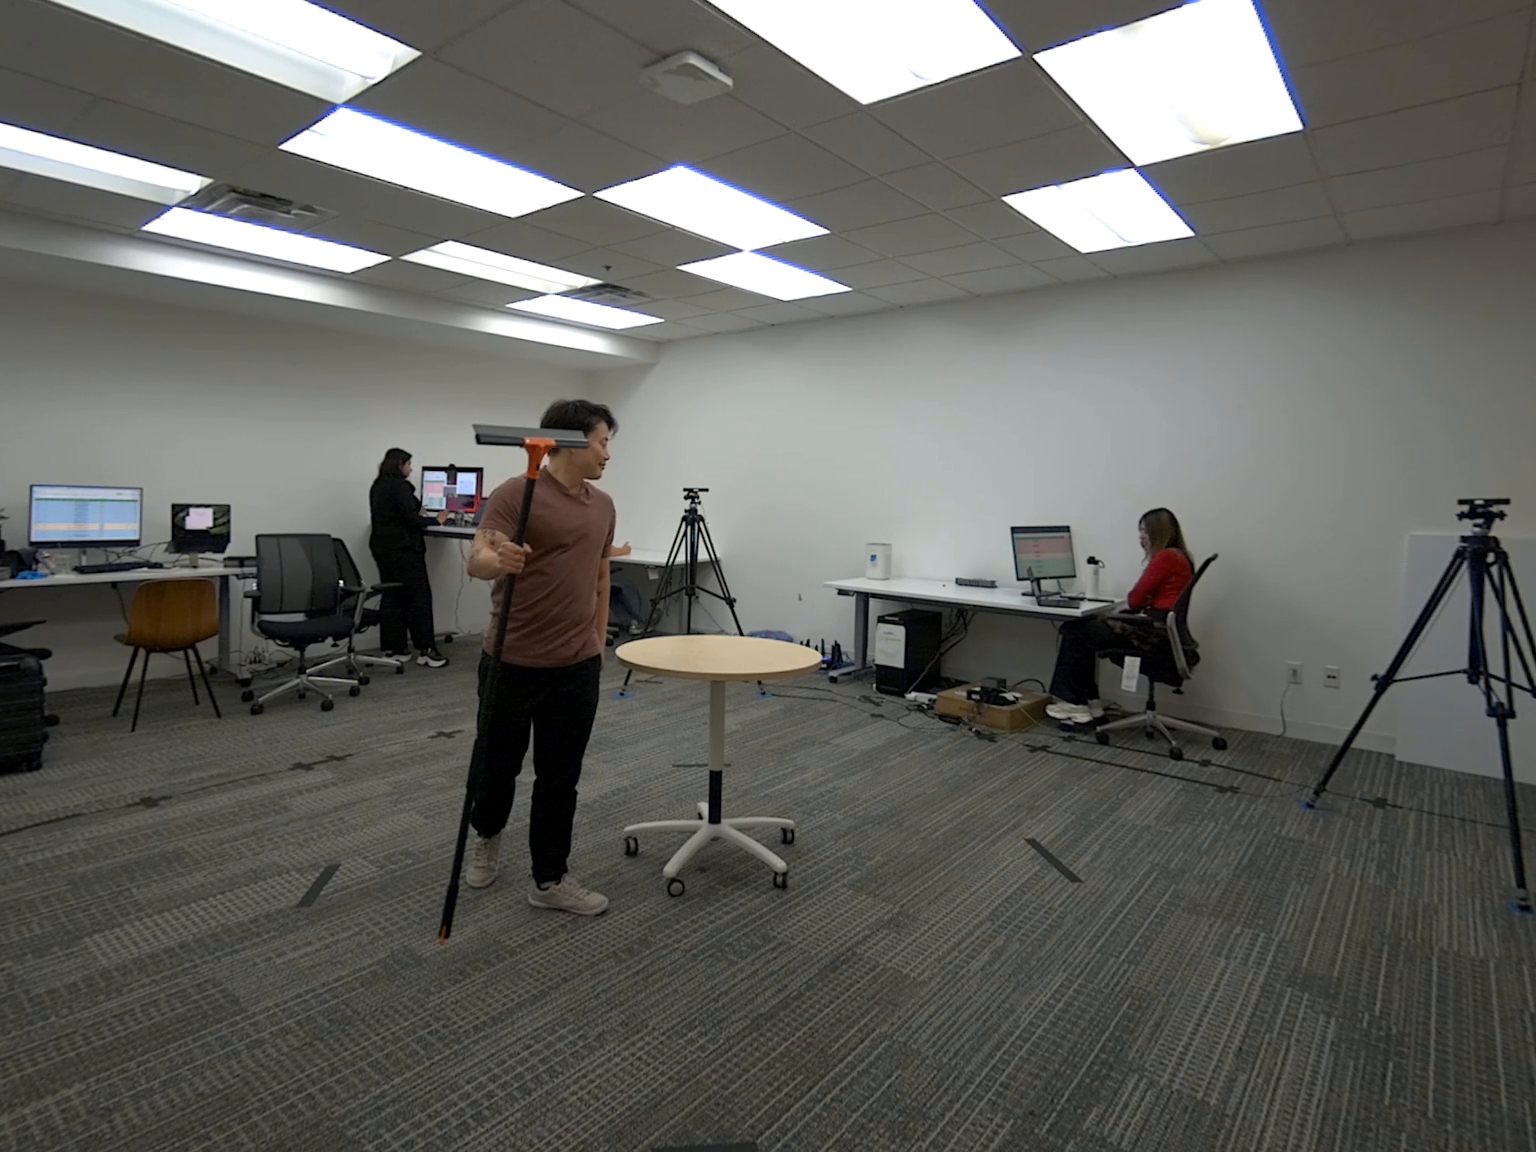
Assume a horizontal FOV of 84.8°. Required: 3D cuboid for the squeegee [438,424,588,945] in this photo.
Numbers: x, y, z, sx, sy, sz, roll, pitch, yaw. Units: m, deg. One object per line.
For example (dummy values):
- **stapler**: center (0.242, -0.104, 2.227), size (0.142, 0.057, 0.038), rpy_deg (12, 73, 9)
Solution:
- **squeegee**: center (-0.770, 0.341, 2.350), size (0.054, 1.526, 0.427), rpy_deg (19, 12, 24)
